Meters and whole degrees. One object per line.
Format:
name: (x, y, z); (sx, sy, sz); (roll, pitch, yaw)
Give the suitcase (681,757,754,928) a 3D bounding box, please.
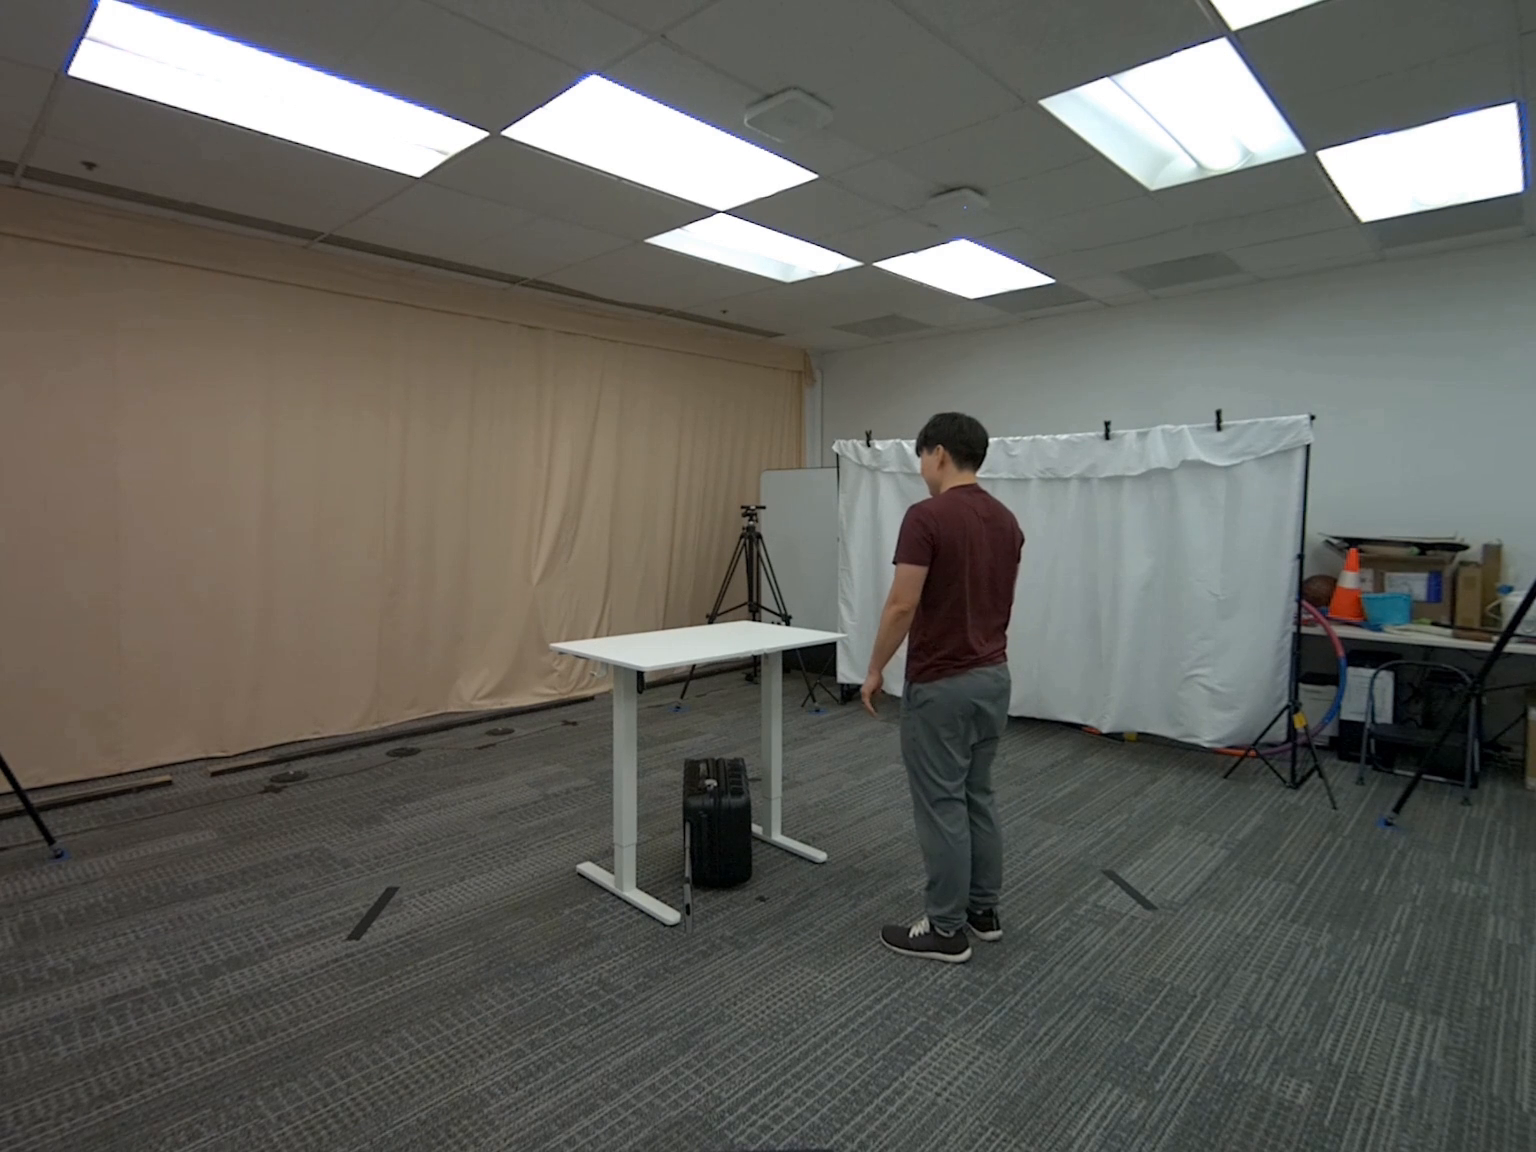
suitcase: (-0.171, 0.951, 3.051); (0.256, 0.383, 0.987); (-2, 5, -6)
